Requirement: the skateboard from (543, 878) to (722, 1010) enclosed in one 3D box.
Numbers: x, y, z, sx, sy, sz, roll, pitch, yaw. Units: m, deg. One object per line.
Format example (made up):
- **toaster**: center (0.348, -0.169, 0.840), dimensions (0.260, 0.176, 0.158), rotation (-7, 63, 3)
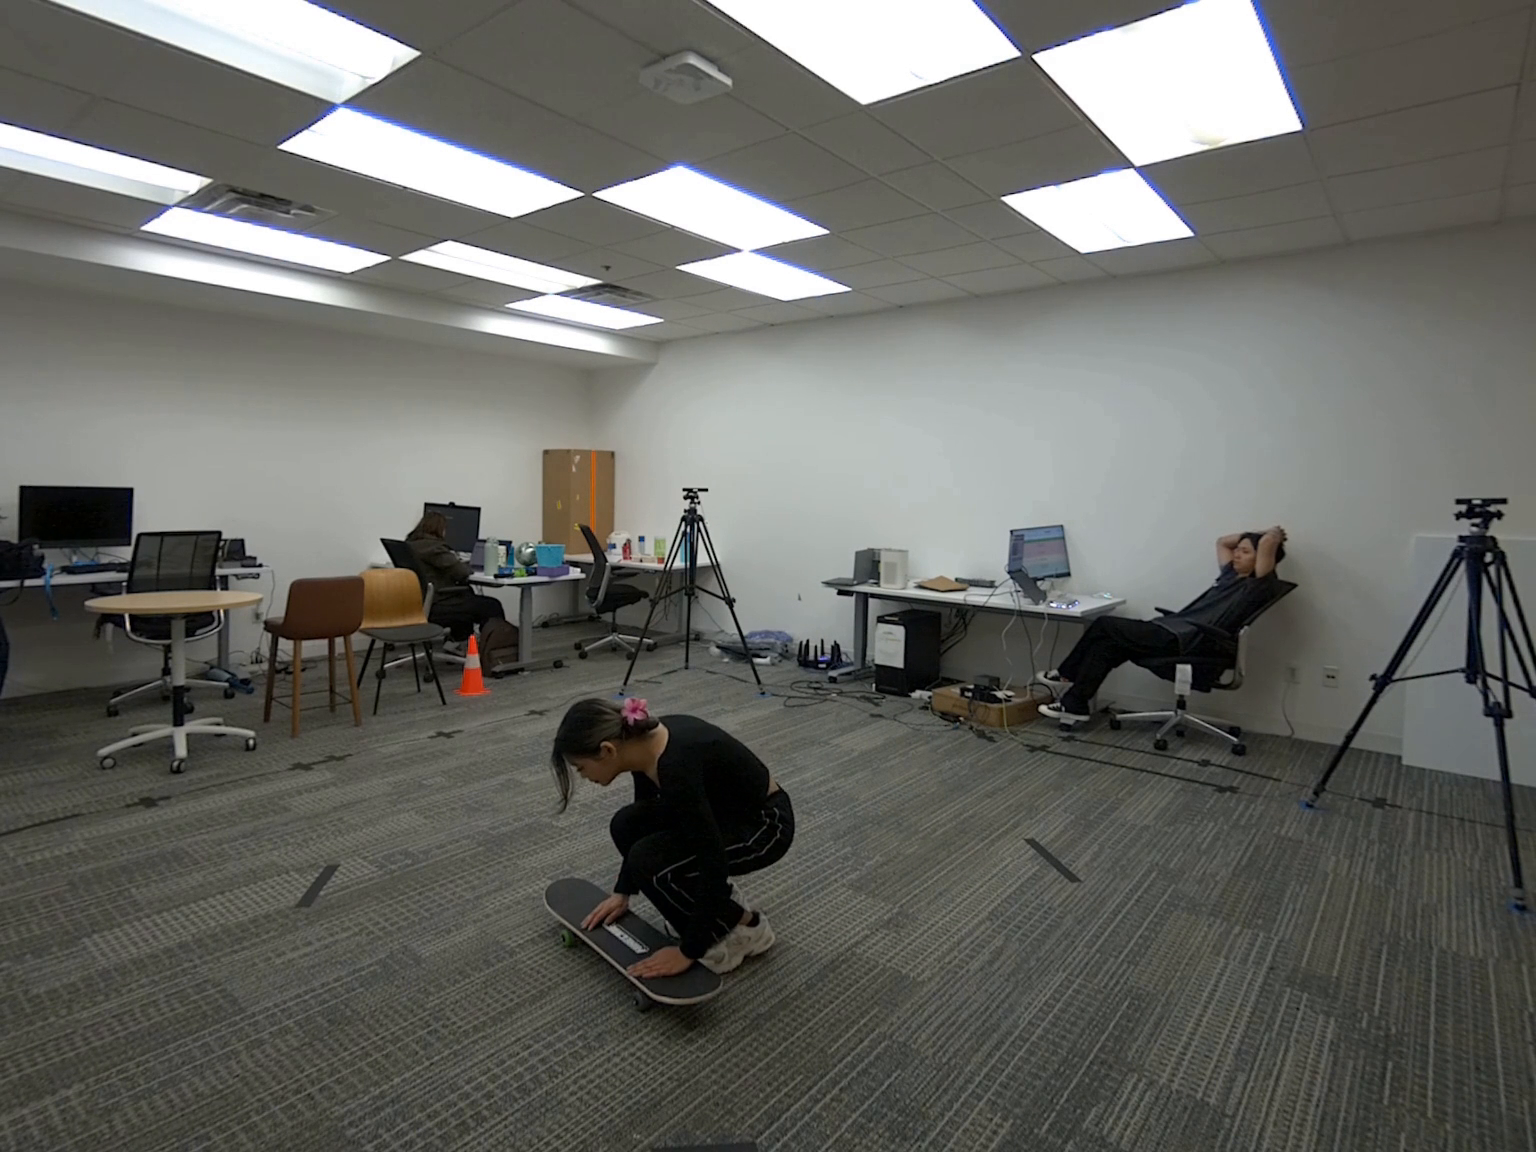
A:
- **skateboard**: center (-0.430, 1.073, 2.466), dimensions (0.188, 0.110, 0.813), rotation (-4, 8, -39)
